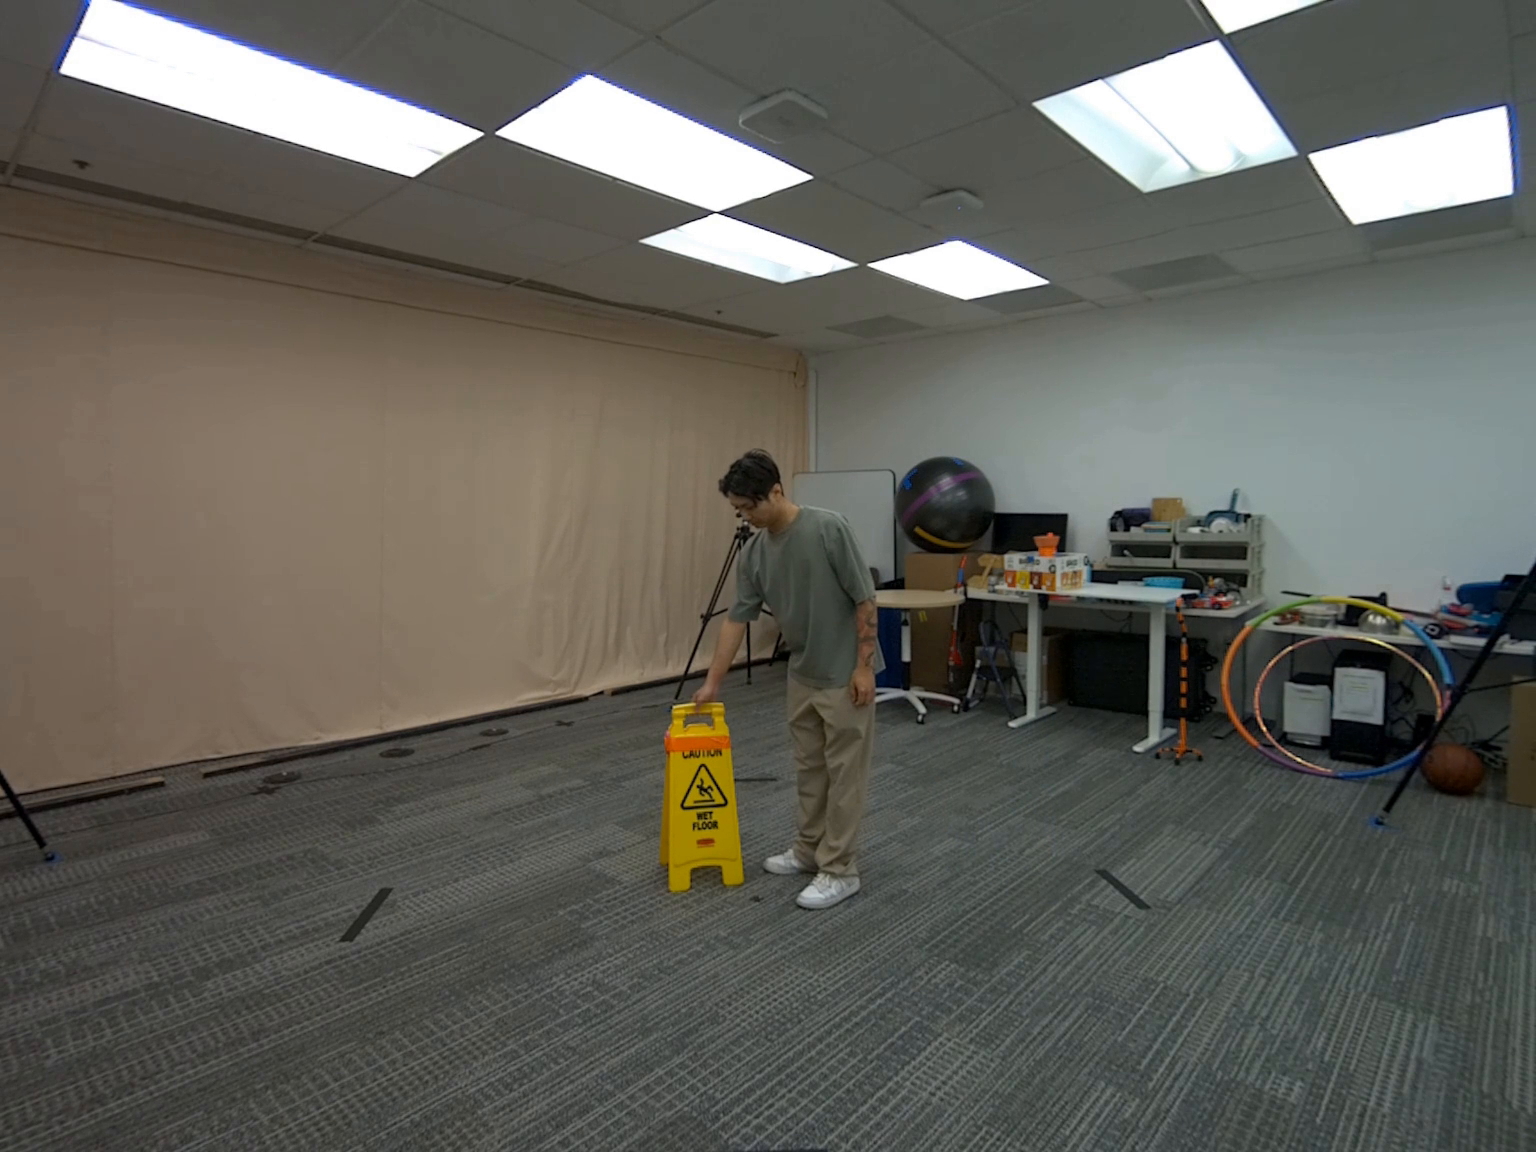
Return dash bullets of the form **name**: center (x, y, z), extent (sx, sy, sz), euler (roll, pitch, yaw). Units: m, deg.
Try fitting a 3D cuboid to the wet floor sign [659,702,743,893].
- **wet floor sign**: center (-0.260, 0.803, 3.180), extent (0.279, 0.645, 0.294), euler (-1, 3, -13)
